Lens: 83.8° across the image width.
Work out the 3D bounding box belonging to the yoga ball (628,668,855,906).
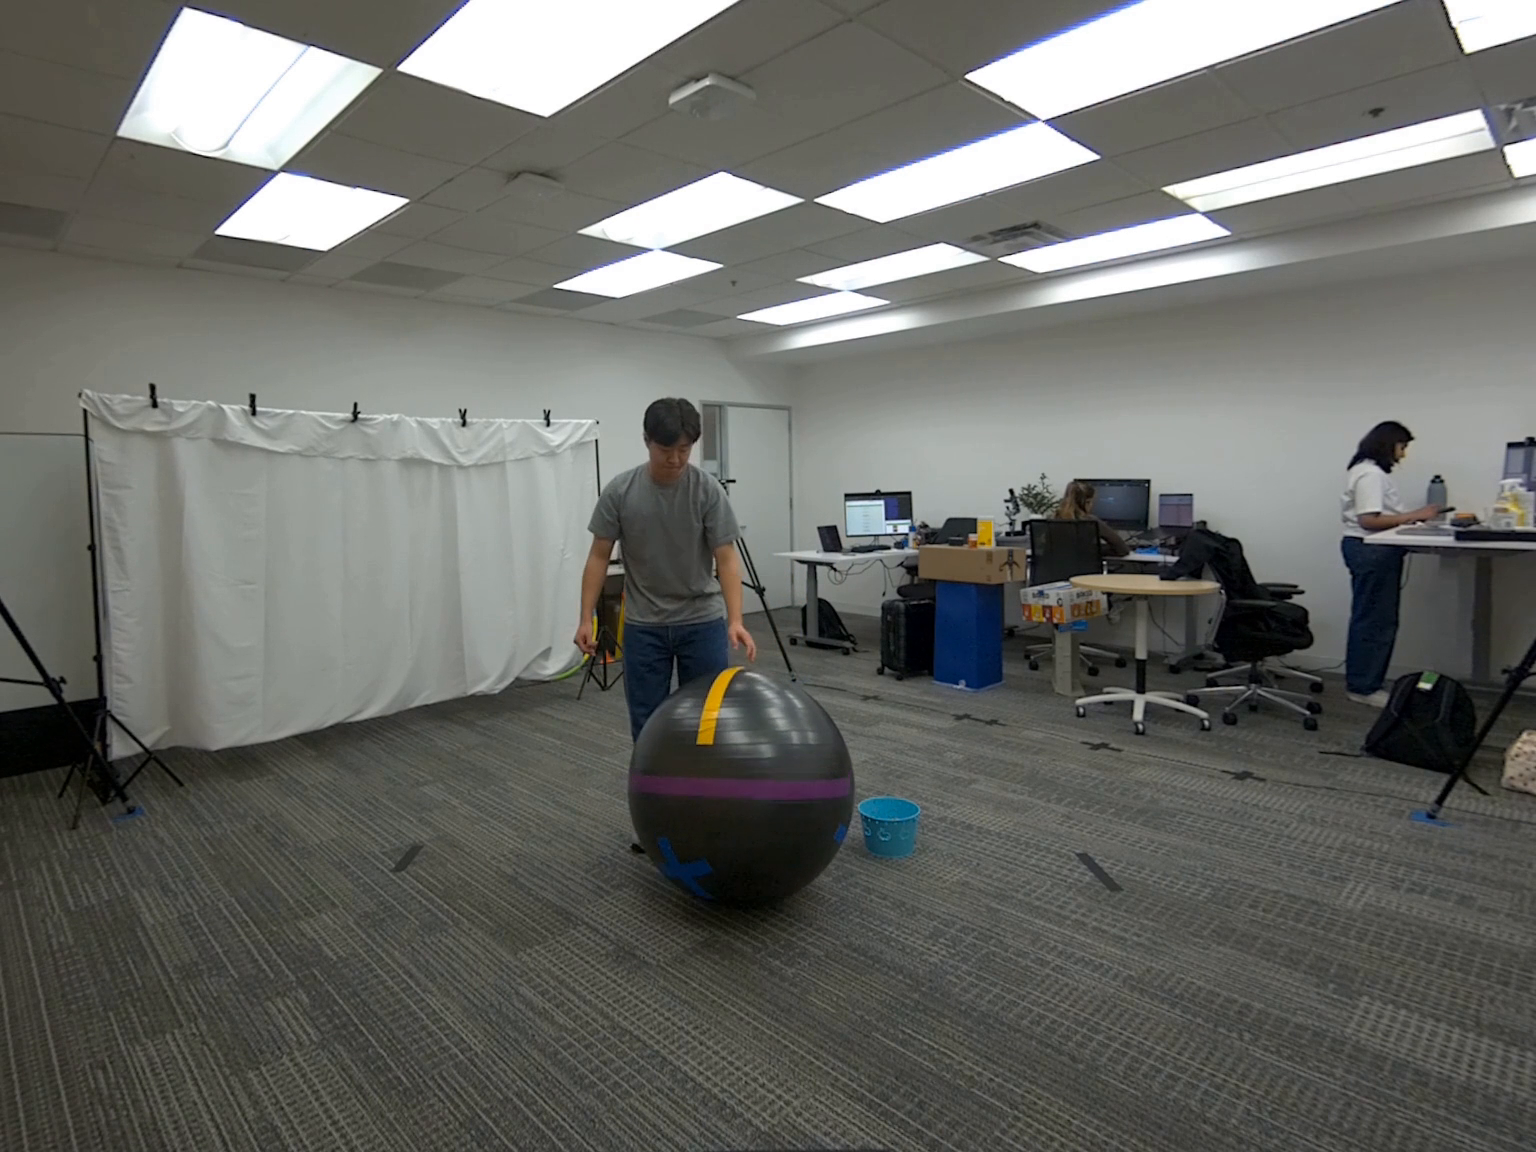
[{"bbox_3d":[-0.099,0.709,2.861,0.757,0.755,0.762,-1,5,-2],"label":"yoga ball"}]
